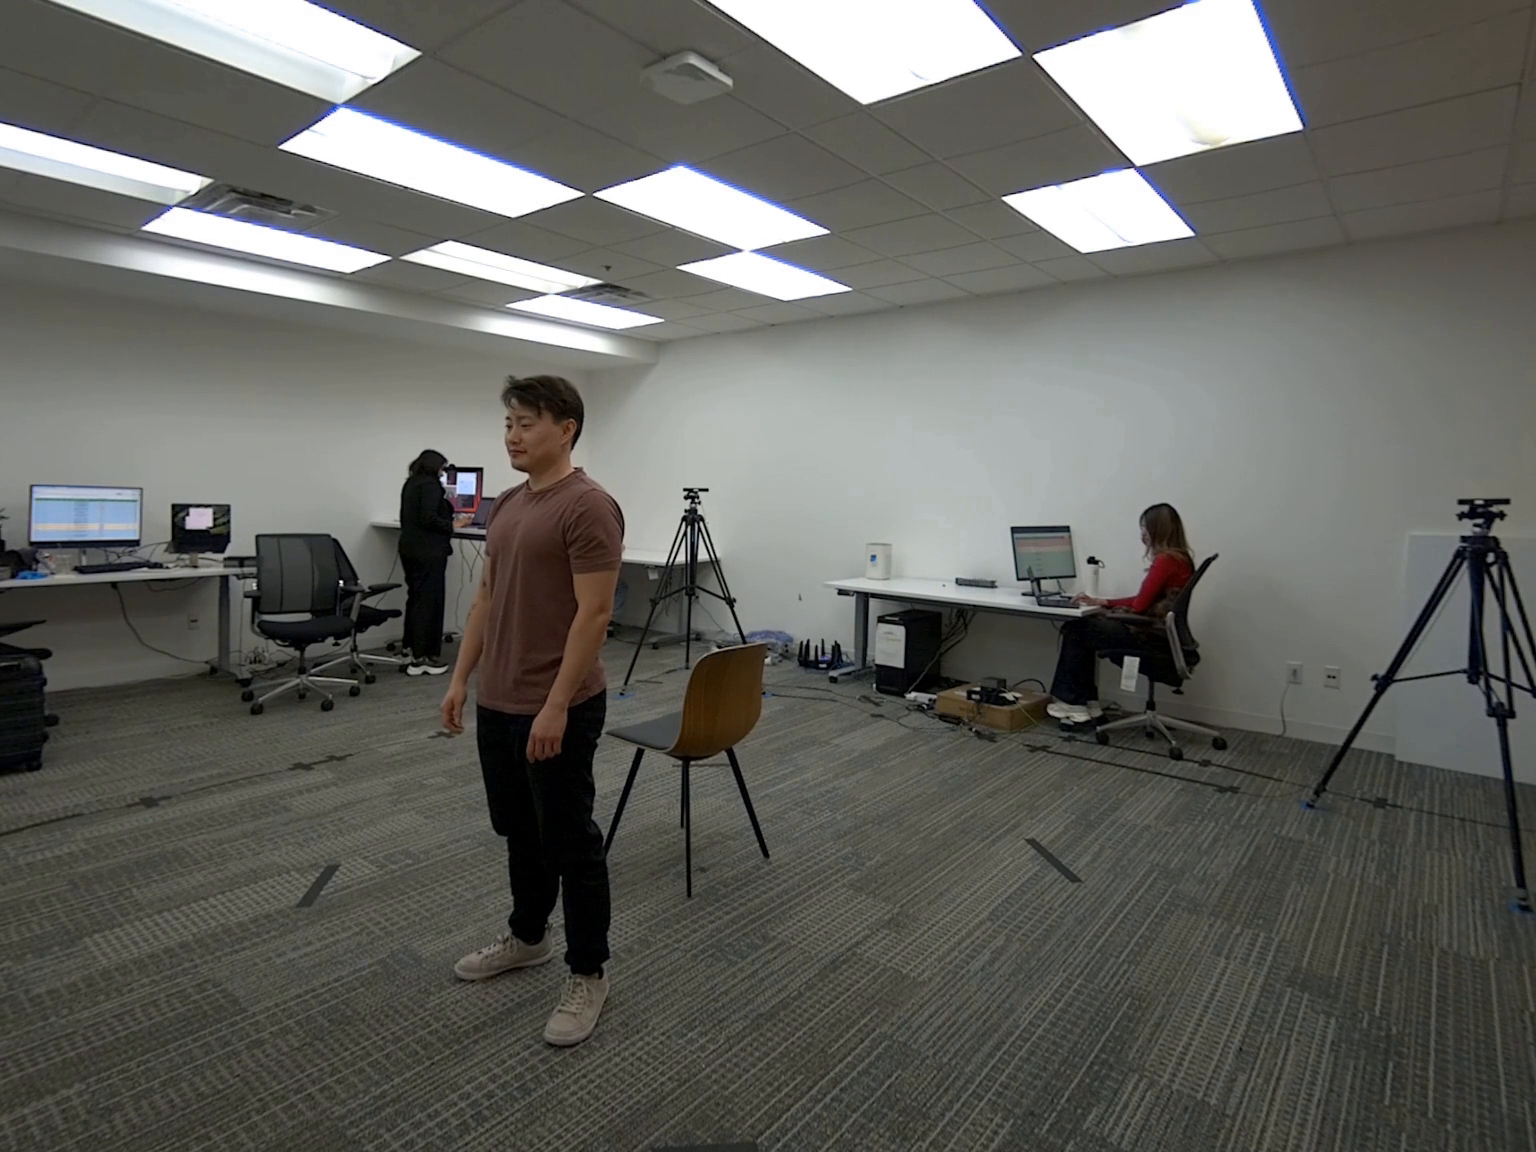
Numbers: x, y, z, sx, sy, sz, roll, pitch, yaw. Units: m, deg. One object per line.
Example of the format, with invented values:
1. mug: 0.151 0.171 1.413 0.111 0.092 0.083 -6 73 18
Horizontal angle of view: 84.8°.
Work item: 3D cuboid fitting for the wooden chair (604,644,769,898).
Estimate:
1. wooden chair: -0.315 0.634 3.179 0.542 0.873 0.464 9 8 38
